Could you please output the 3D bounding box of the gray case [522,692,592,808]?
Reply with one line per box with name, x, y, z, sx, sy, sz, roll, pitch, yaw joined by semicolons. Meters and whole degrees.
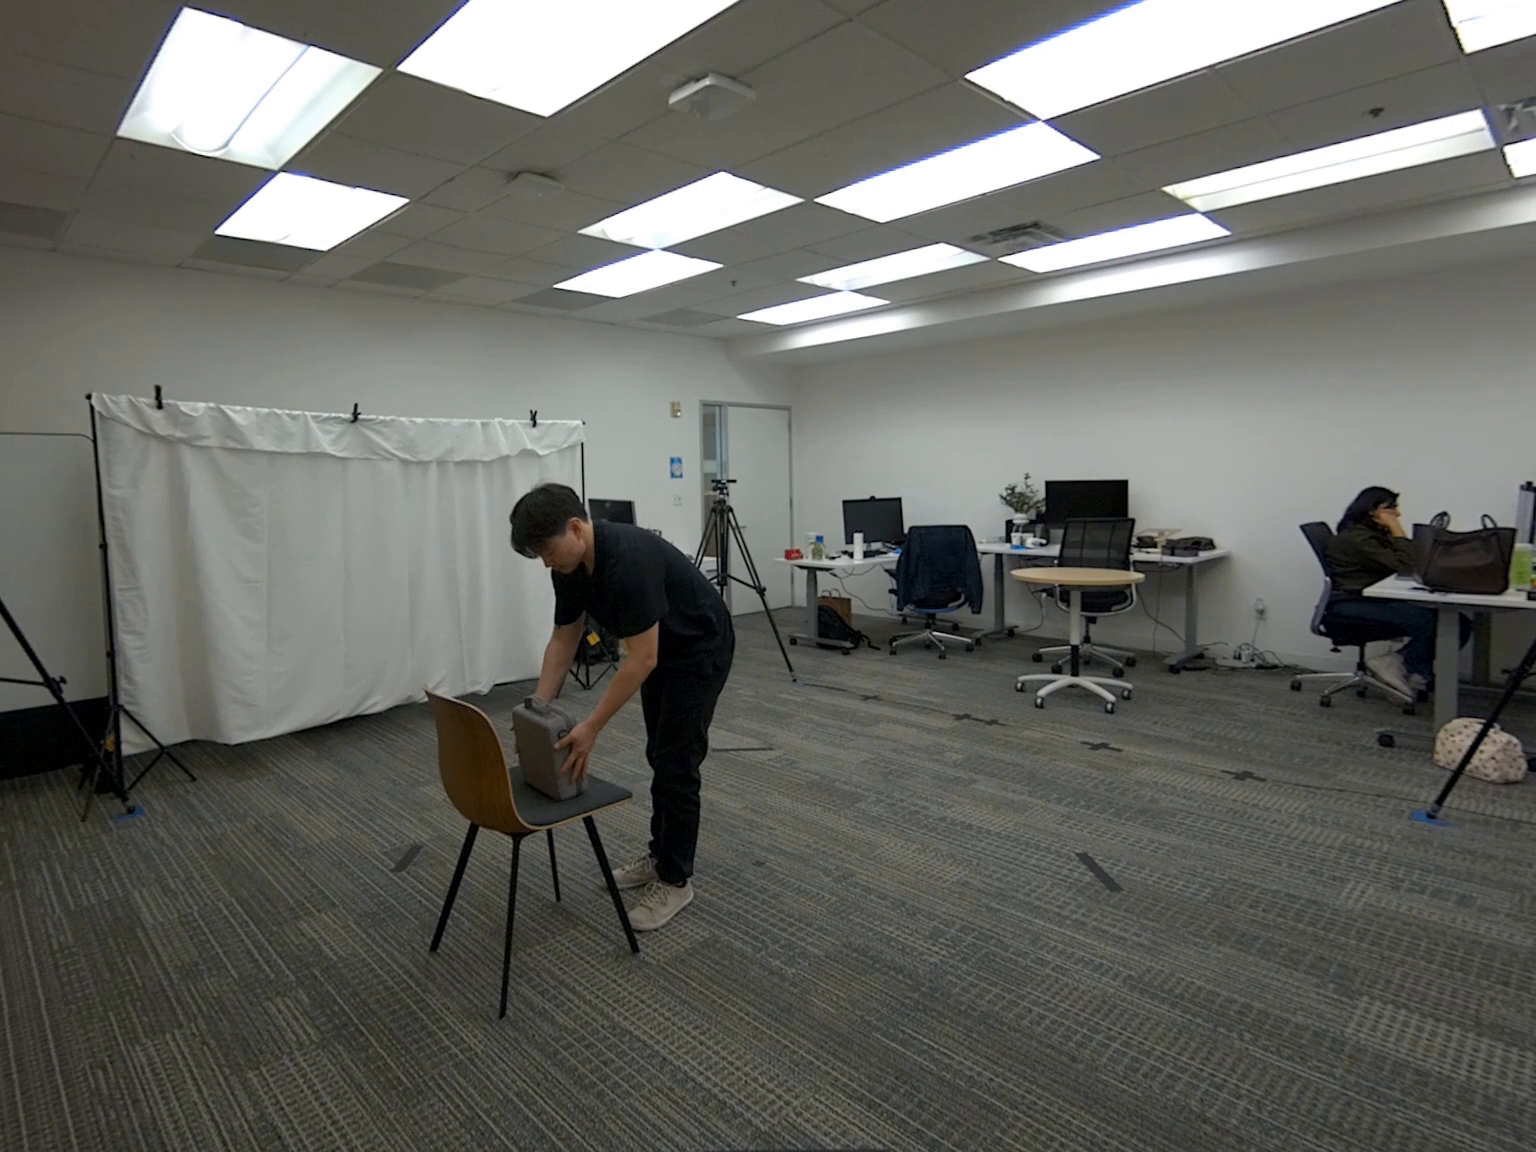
gray case;-0.635;0.507;2.562;0.102;0.258;0.265;-7;11;-32
